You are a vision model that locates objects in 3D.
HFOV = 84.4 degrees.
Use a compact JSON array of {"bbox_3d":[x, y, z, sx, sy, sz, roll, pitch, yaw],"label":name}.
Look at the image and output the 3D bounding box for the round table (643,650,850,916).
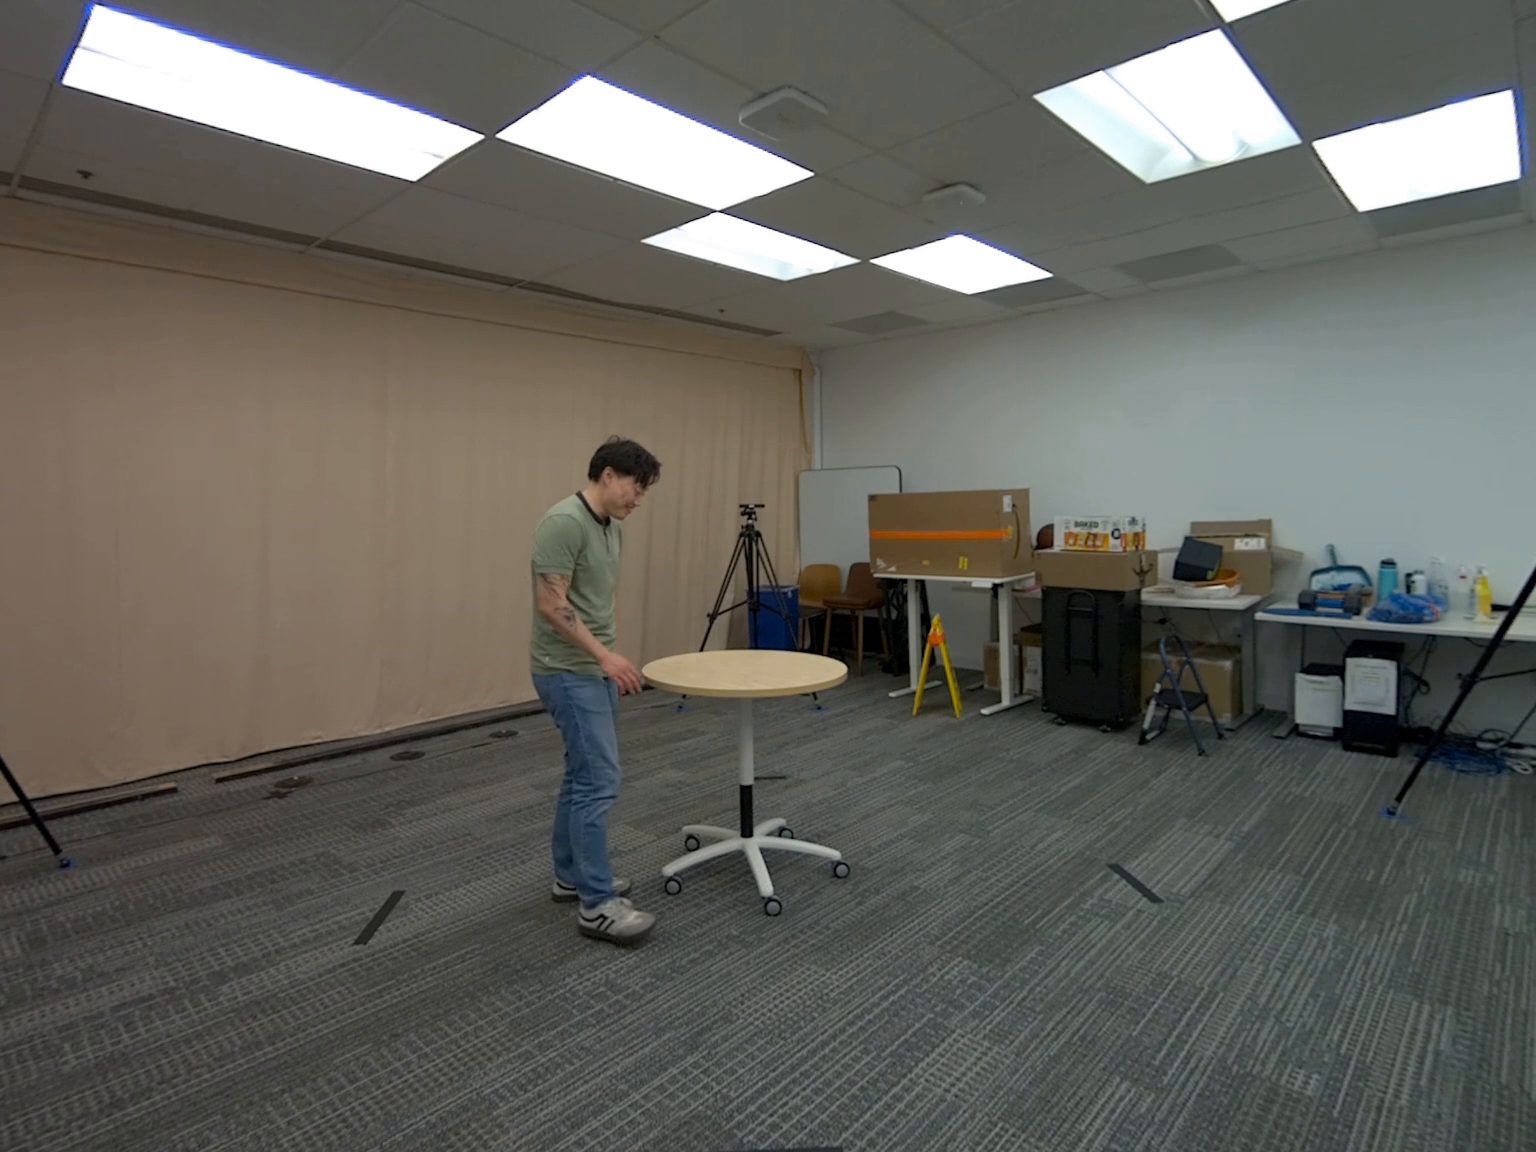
[{"bbox_3d":[-0.080,0.736,3.170,0.763,0.792,0.767,-1,4,-2],"label":"round table"}]
